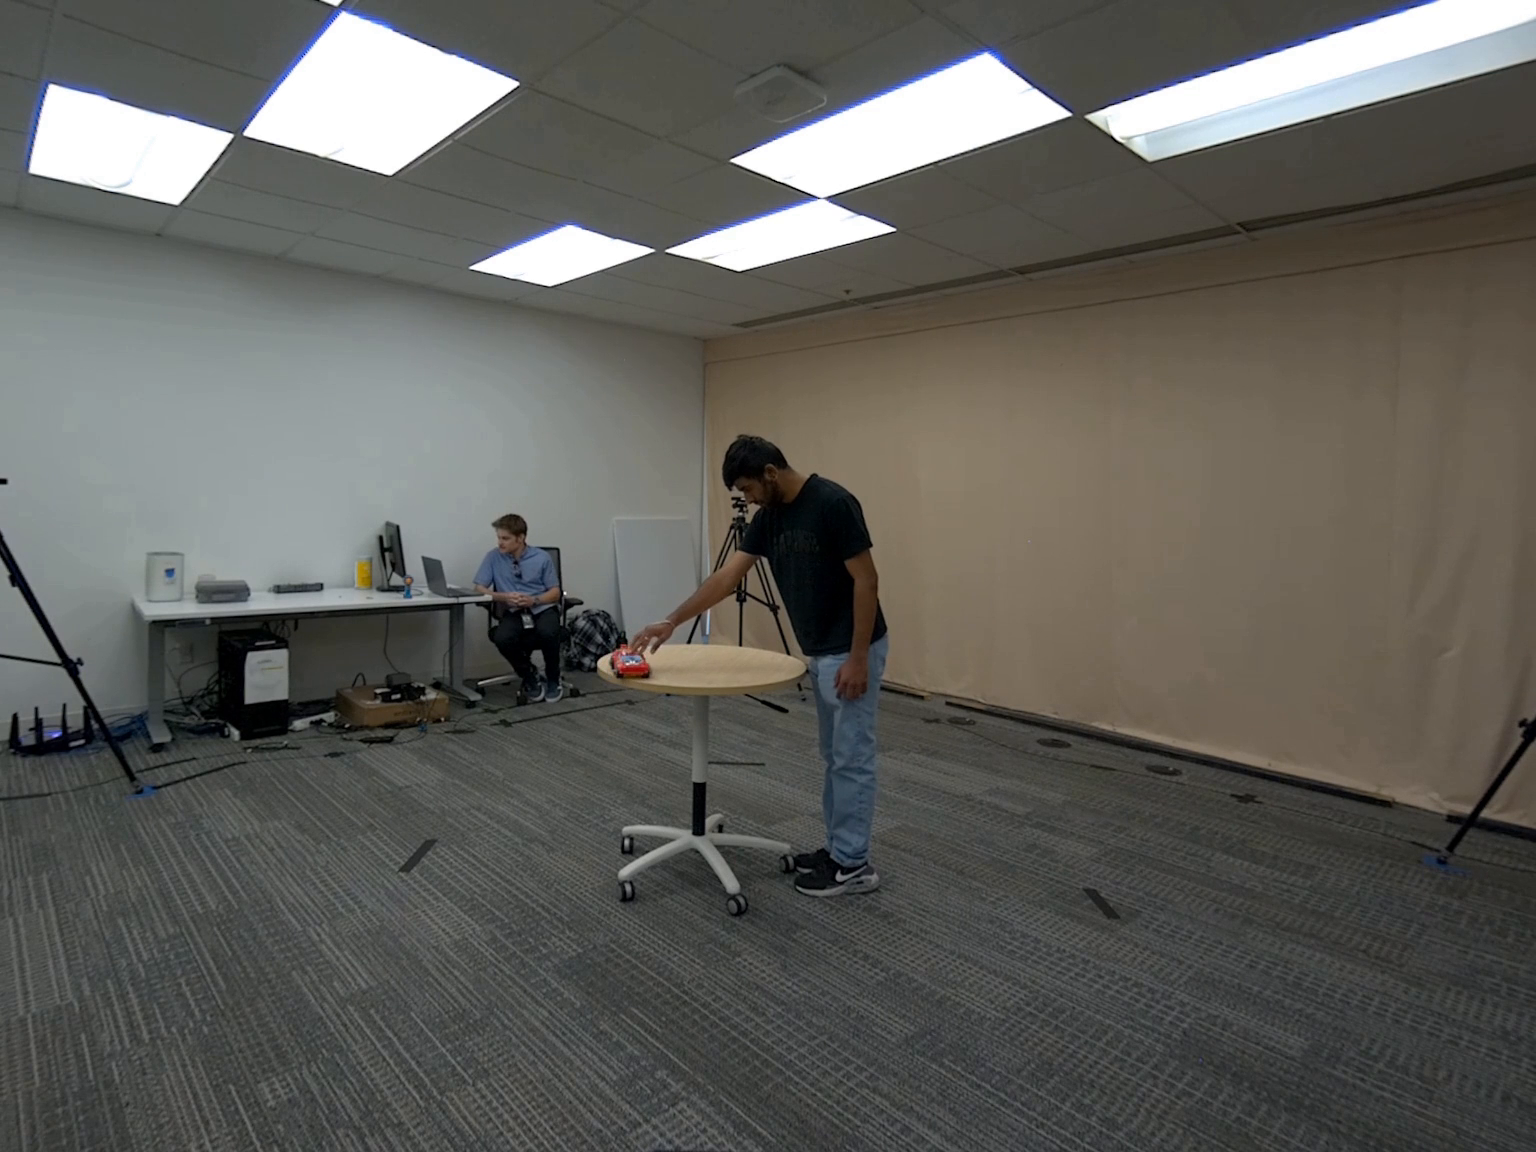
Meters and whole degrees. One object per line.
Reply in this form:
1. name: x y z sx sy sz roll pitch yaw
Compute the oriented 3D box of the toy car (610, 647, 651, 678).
1. toy car: -0.480 0.302 2.915 0.129 0.082 0.260 0 16 -15
